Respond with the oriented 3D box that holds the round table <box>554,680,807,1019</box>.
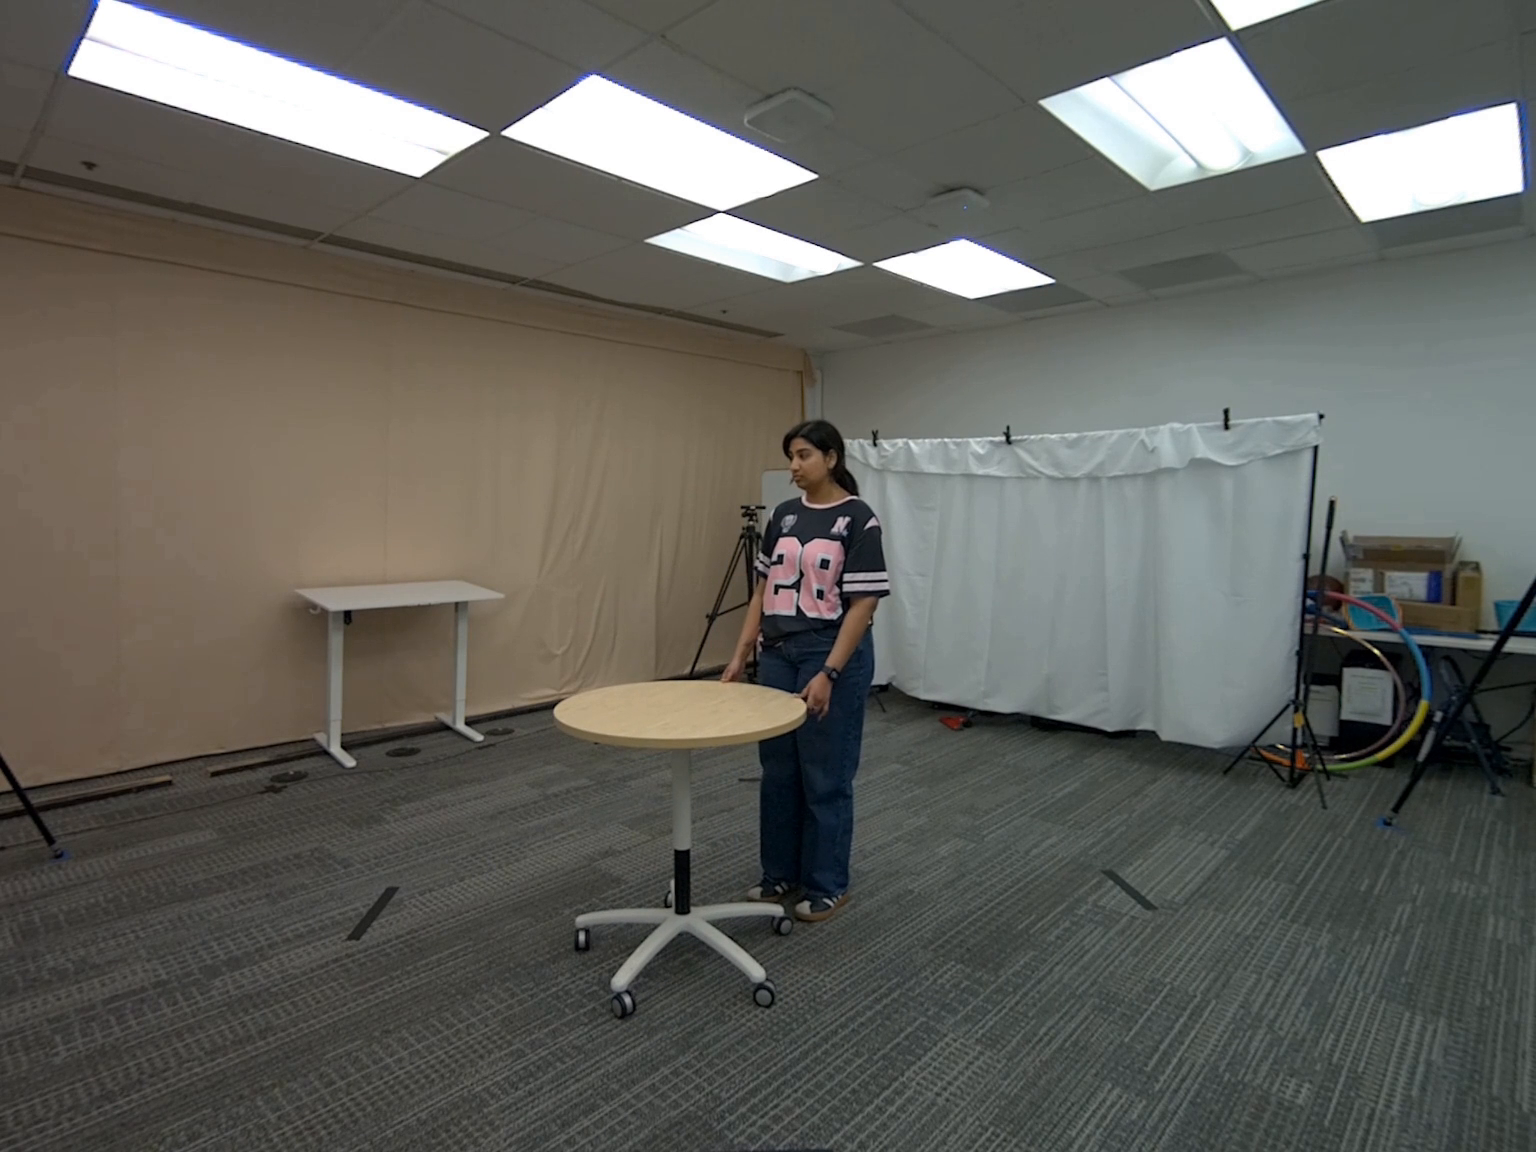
[{"bbox_3d":[-0.250,0.784,2.584,0.784,0.785,0.788,-1,4,-2],"label":"round table"}]
